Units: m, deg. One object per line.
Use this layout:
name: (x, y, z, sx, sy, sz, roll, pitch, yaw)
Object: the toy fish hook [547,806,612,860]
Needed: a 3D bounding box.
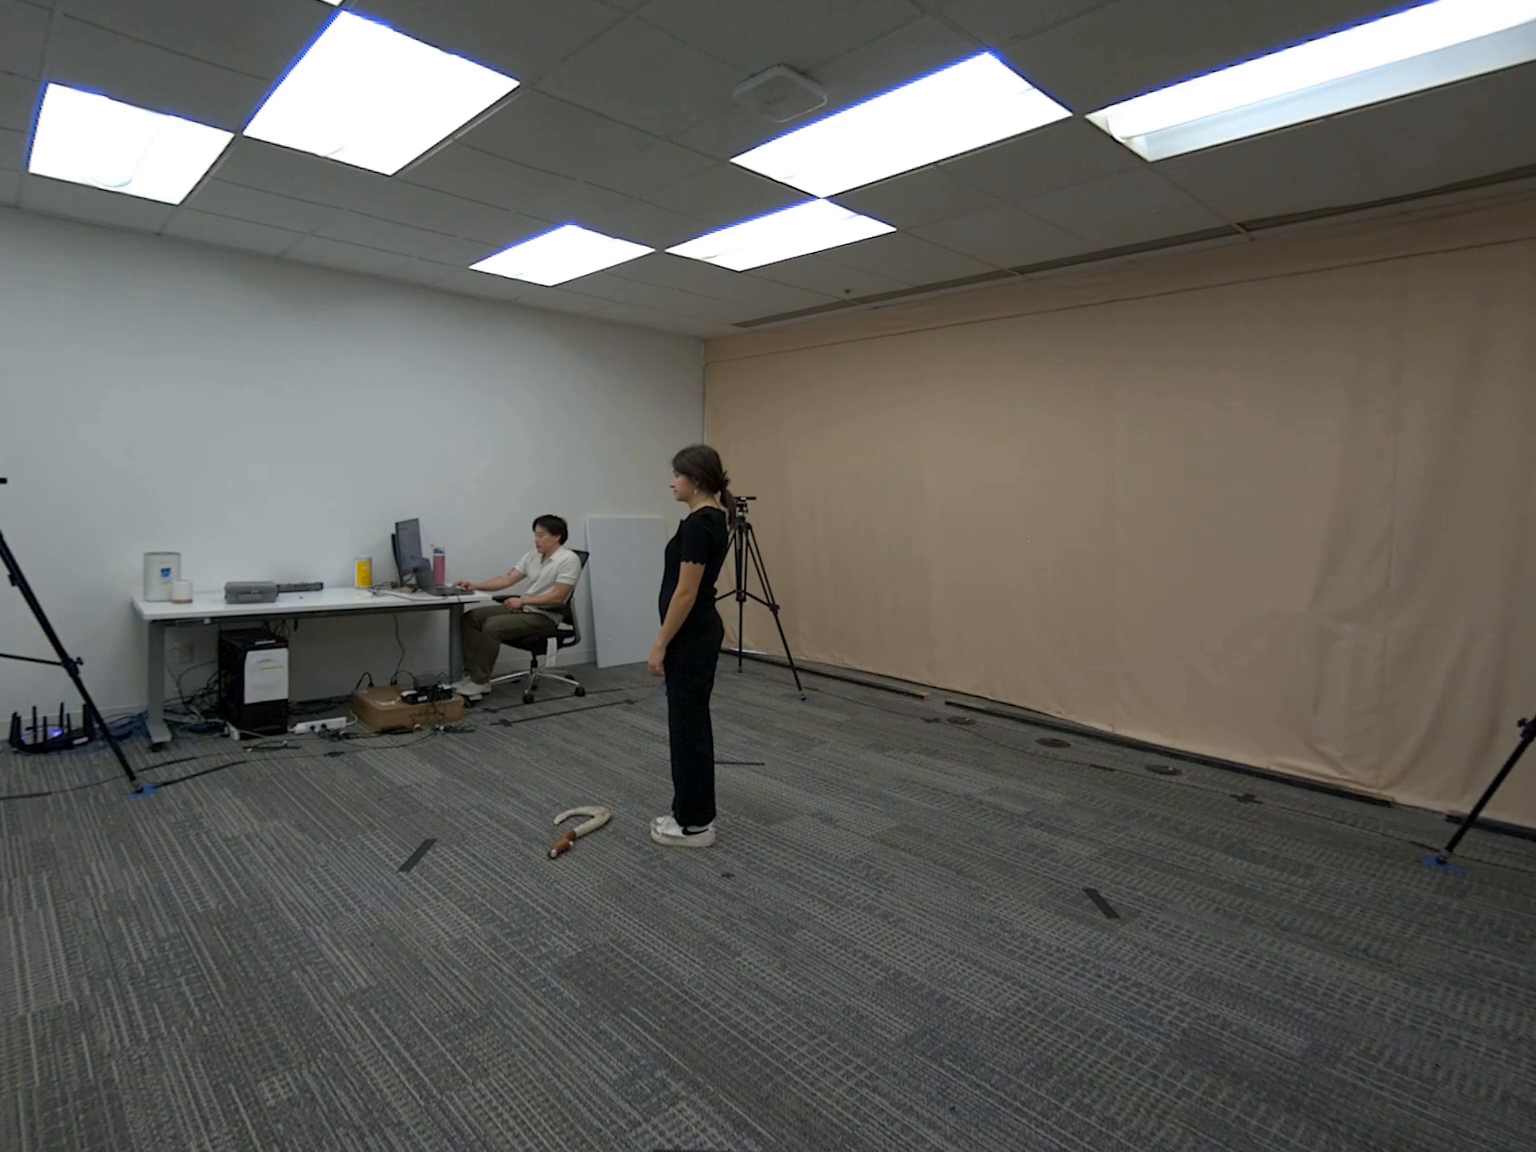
toy fish hook: (-0.823, 1.041, 3.449, 0.227, 0.048, 0.501, -5, 3, 16)
